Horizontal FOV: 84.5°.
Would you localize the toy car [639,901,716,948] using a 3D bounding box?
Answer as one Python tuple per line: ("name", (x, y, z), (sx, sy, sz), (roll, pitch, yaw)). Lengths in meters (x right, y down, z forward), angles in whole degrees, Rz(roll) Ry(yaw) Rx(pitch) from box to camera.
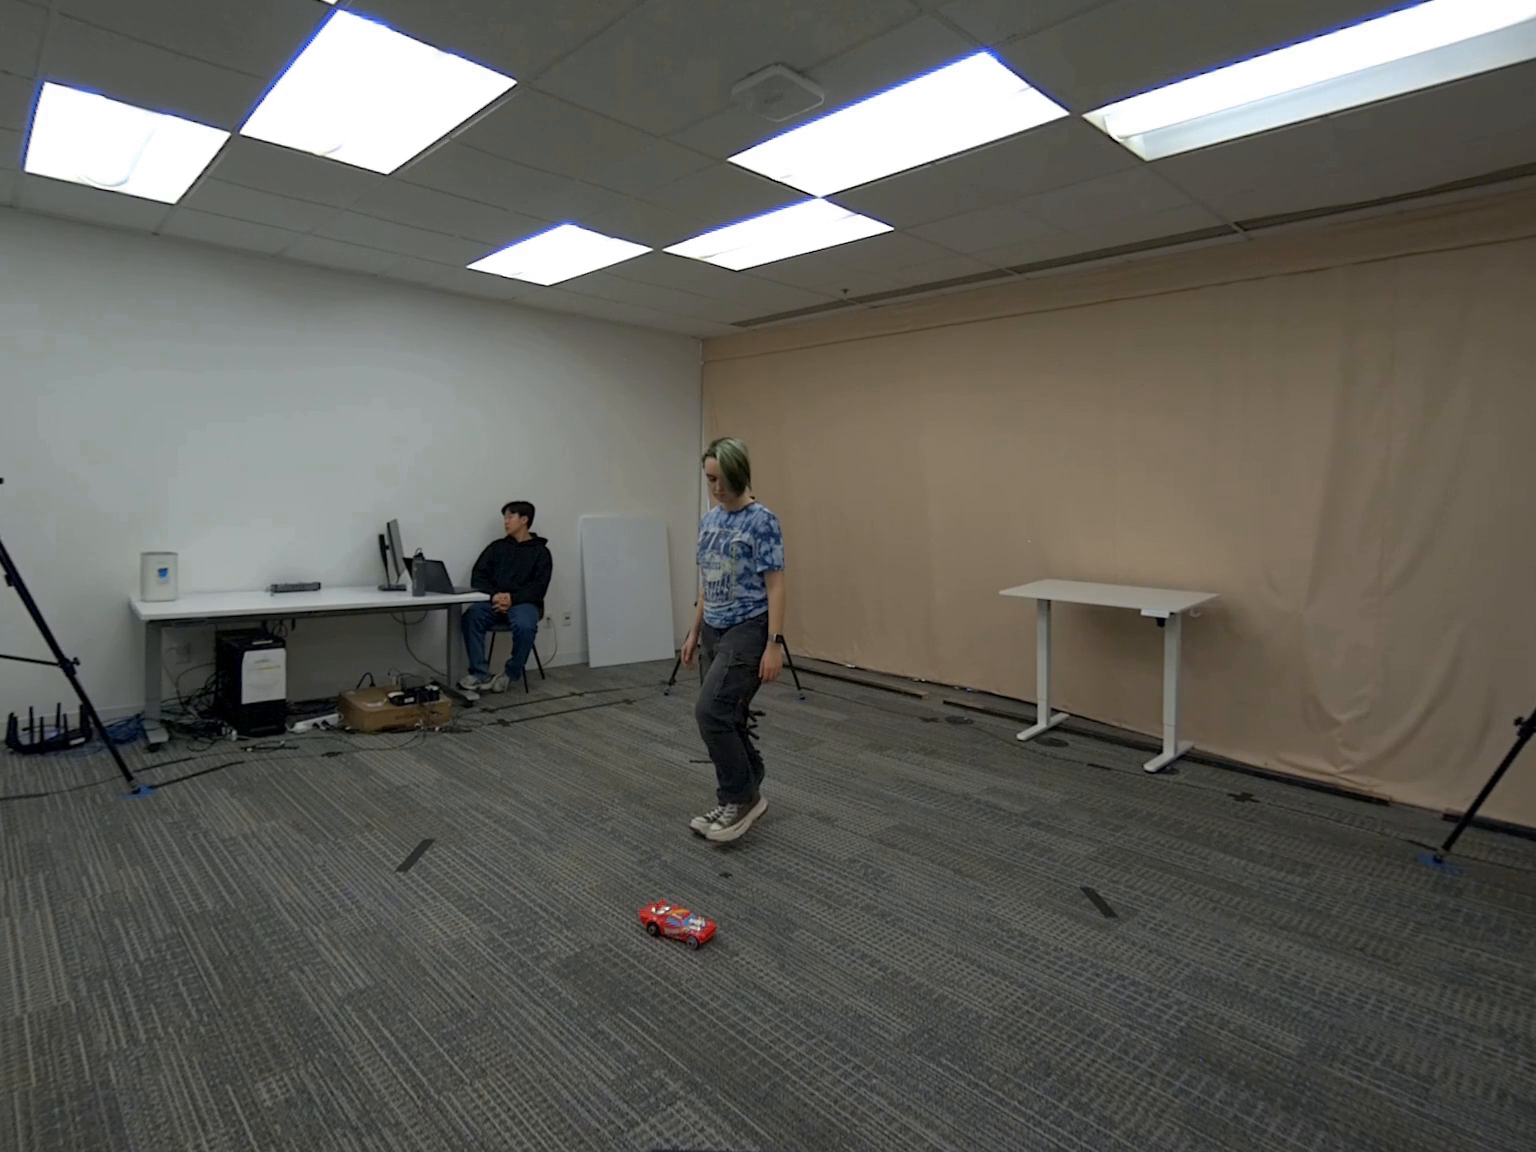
("toy car", (-0.301, 1.111, 2.675), (0.261, 0.083, 0.128), (17, 12, 28))
